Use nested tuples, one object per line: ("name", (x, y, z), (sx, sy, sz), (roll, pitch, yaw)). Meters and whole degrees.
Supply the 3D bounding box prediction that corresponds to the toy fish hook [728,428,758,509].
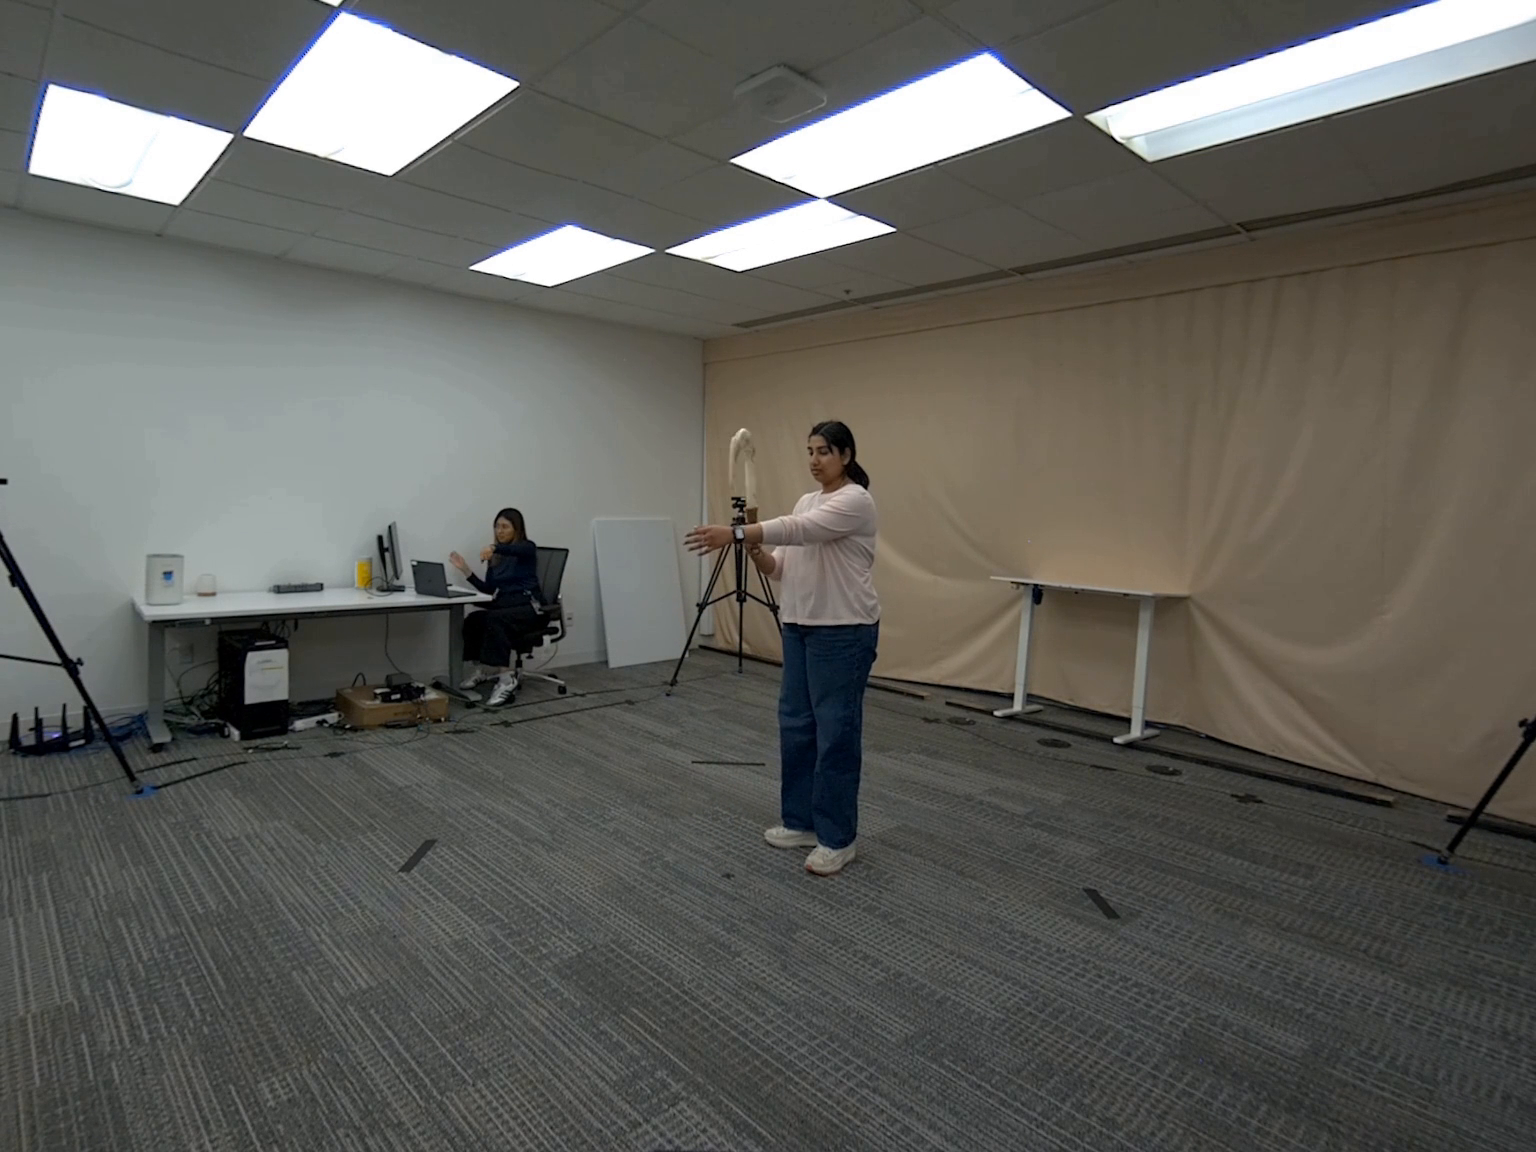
("toy fish hook", (-0.093, -0.270, 3.025), (0.049, 0.496, 0.225), (6, 31, 23))
